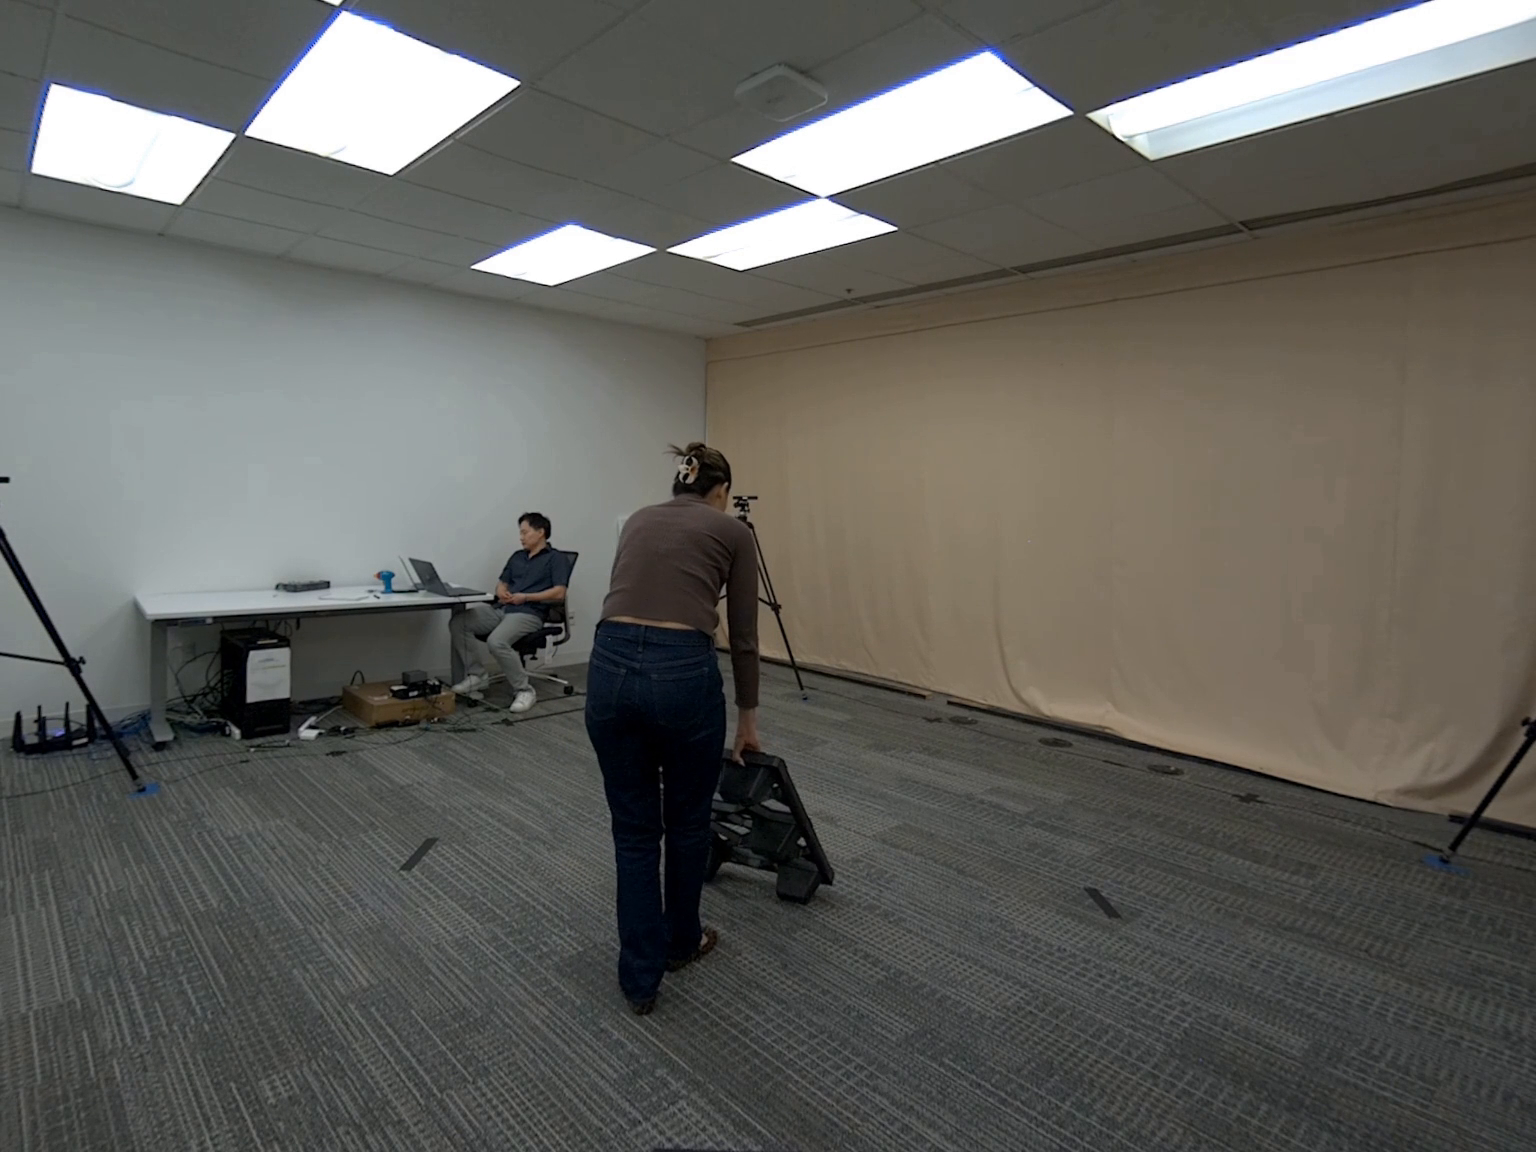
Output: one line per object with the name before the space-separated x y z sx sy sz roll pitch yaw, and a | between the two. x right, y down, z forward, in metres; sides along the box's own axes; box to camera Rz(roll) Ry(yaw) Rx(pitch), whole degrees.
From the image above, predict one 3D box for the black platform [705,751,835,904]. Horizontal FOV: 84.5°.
black platform | -0.166 0.812 2.783 0.617 0.782 0.145 4 47 25
